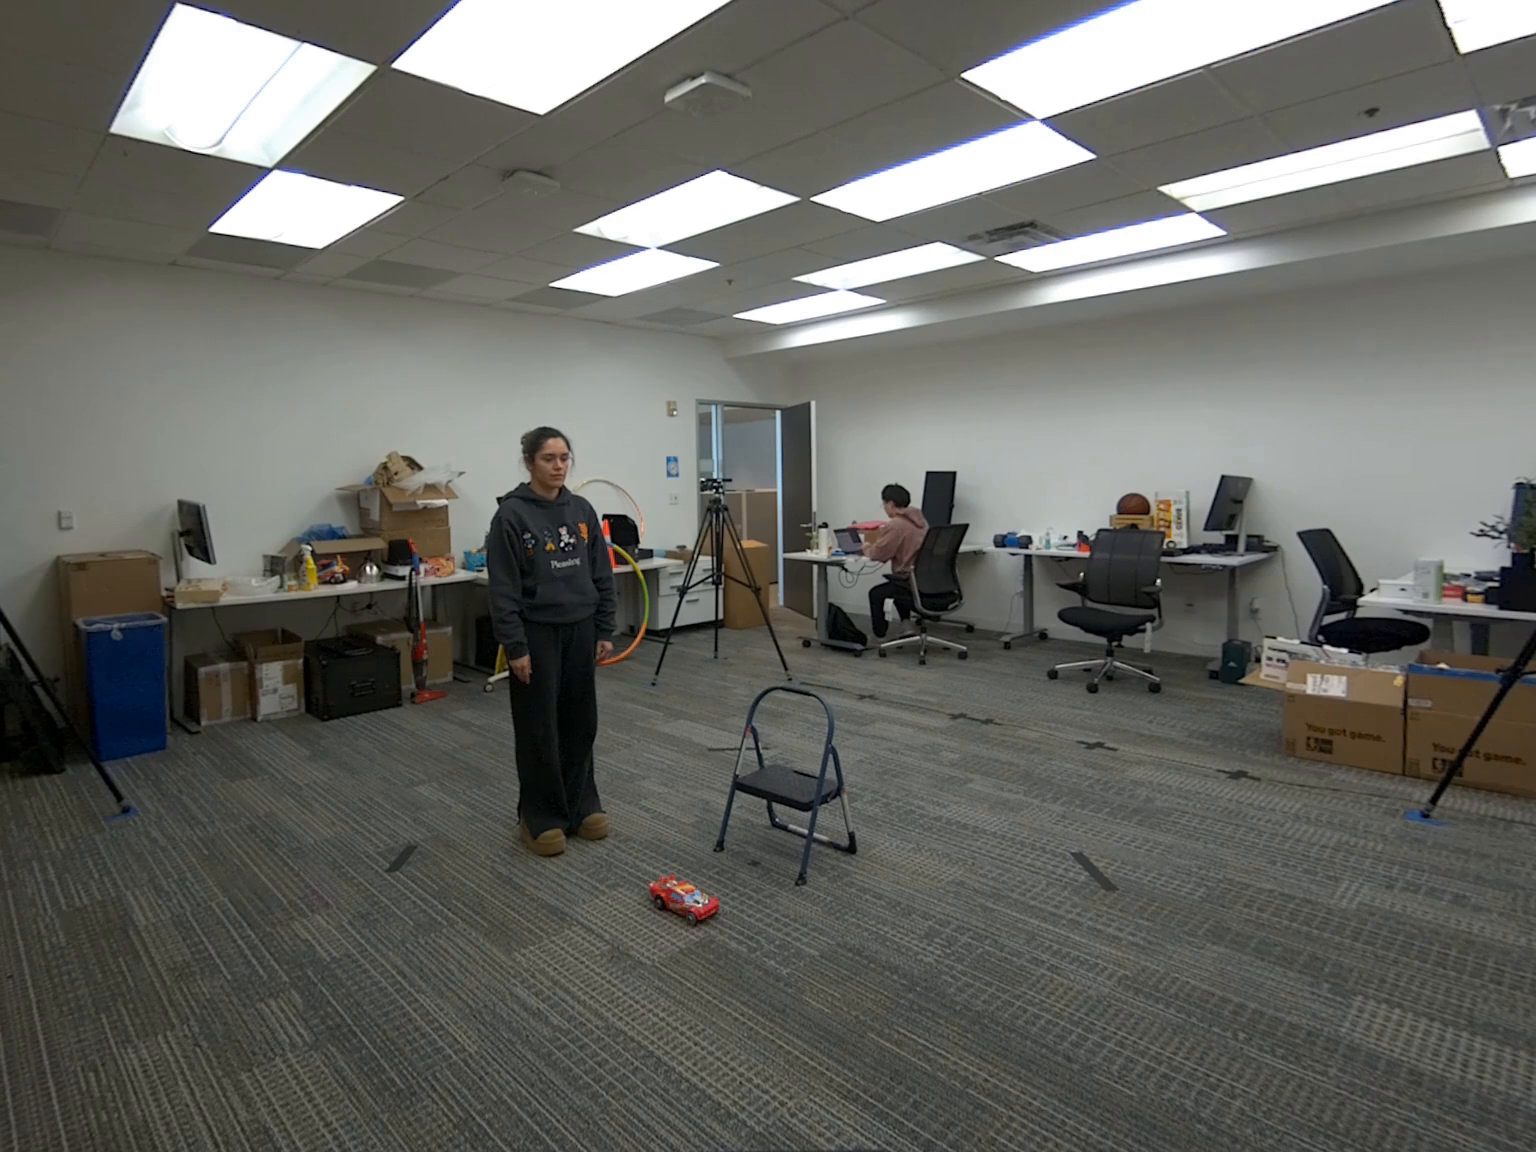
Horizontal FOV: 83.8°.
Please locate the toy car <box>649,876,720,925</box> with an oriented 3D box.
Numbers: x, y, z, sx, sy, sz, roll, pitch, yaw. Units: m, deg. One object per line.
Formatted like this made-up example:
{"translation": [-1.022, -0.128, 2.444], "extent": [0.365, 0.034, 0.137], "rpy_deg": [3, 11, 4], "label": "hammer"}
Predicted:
{"translation": [-0.280, 1.057, 2.773], "extent": [0.264, 0.082, 0.127], "rpy_deg": [18, 18, 40], "label": "toy car"}
